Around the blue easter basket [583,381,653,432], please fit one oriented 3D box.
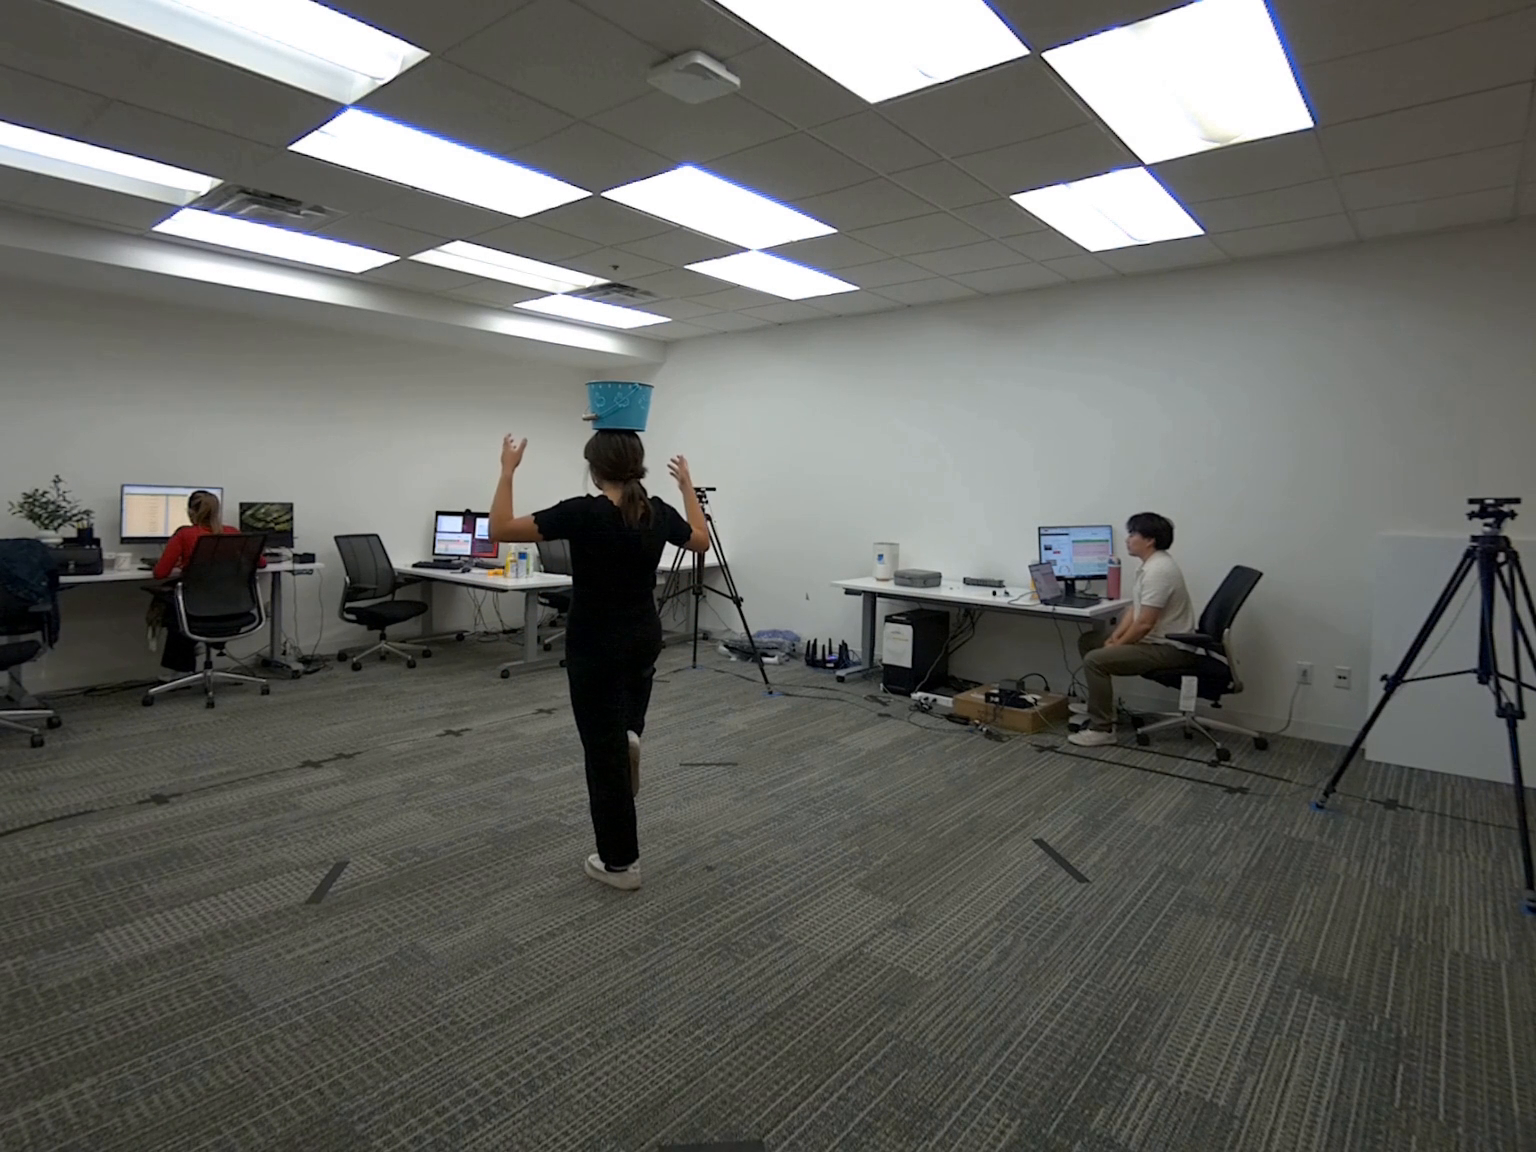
[{"bbox_3d":[-0.520,-0.574,2.867,0.243,0.155,0.245,1,5,-2],"label":"blue easter basket"}]
